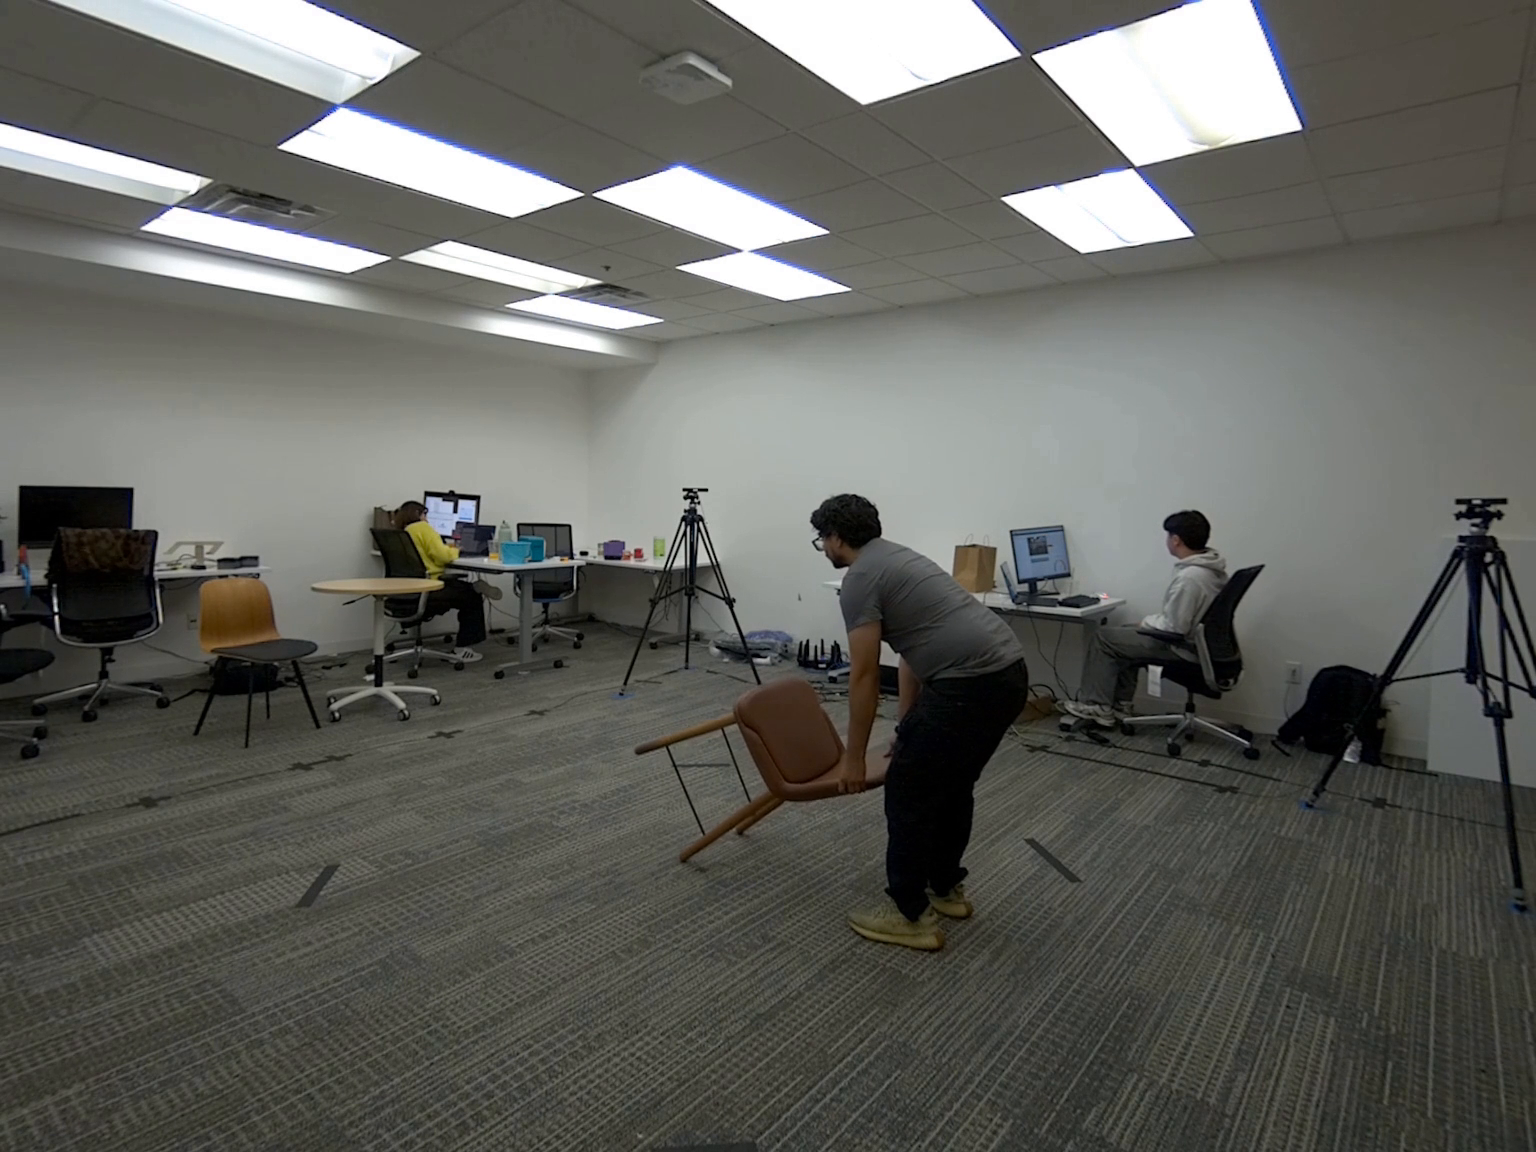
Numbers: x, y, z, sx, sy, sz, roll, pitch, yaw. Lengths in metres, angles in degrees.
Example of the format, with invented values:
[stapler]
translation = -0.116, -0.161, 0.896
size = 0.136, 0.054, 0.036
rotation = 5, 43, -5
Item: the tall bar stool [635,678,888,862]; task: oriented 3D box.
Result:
[tall bar stool]
translation = -0.013, 0.657, 3.133
size = 0.899, 0.477, 0.443
rotation = -31, -16, 33
